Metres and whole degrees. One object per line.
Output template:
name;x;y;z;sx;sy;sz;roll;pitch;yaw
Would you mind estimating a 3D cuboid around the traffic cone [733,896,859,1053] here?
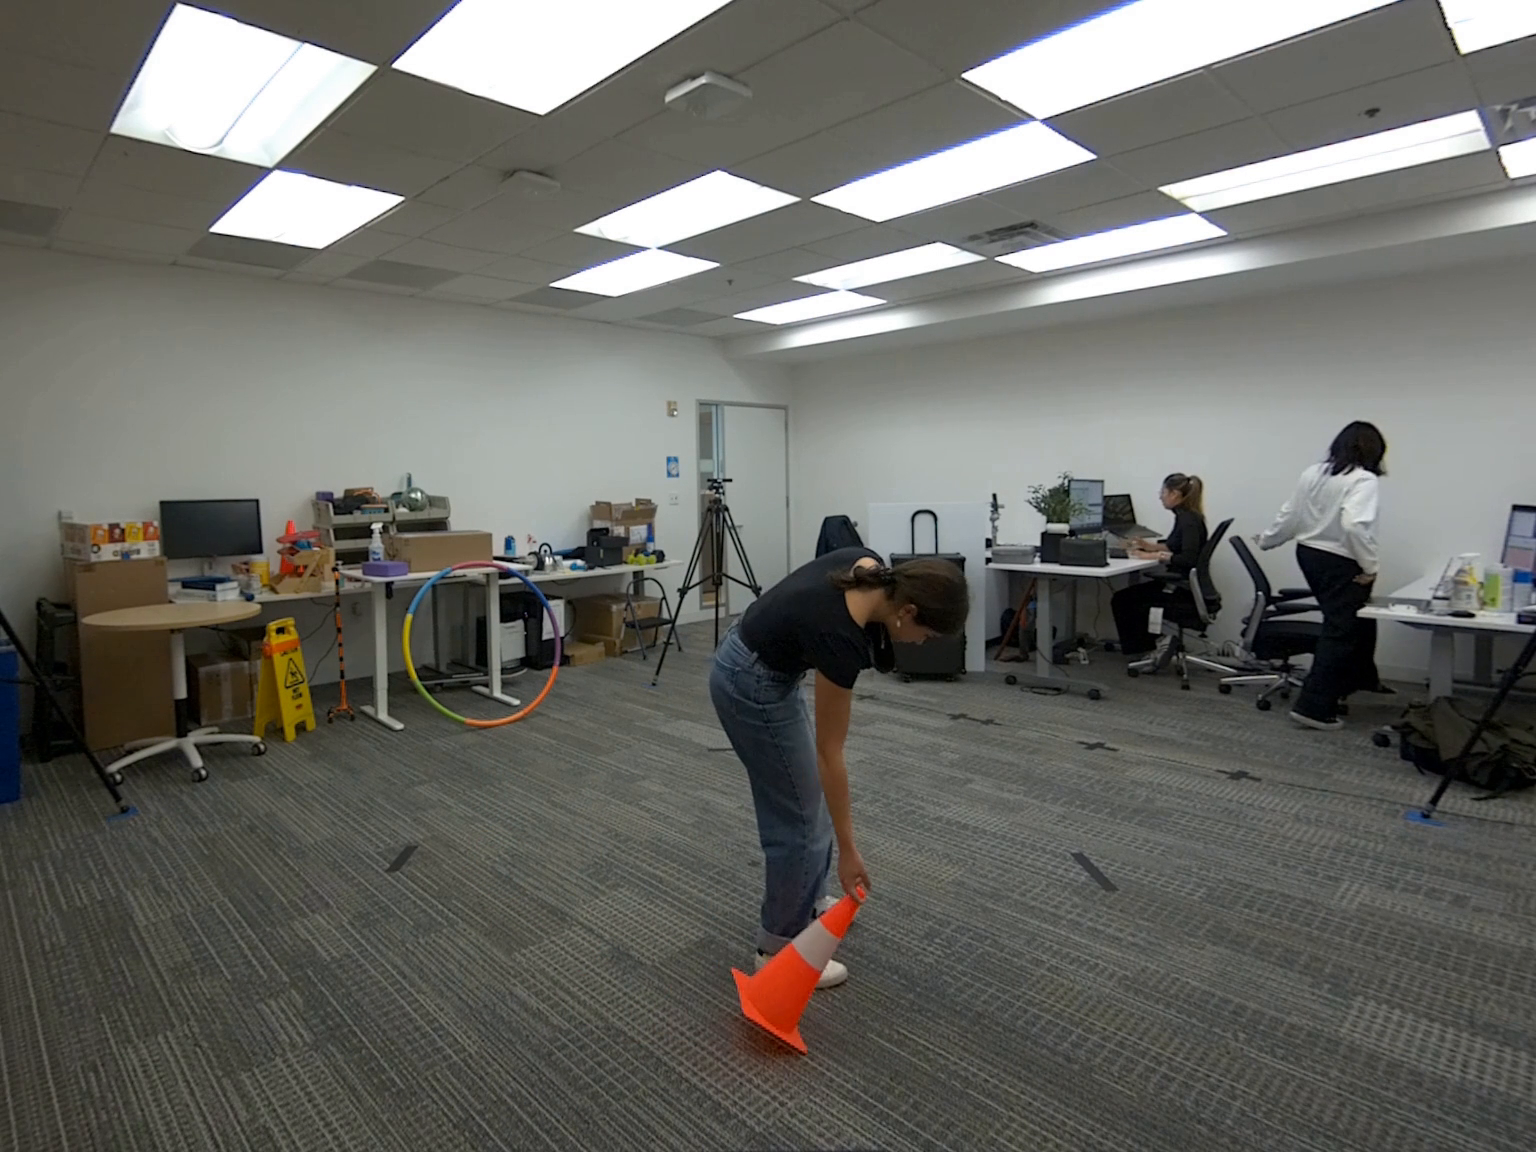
traffic cone;0.114;0.953;2.164;0.202;0.384;0.206;38;-2;-11
